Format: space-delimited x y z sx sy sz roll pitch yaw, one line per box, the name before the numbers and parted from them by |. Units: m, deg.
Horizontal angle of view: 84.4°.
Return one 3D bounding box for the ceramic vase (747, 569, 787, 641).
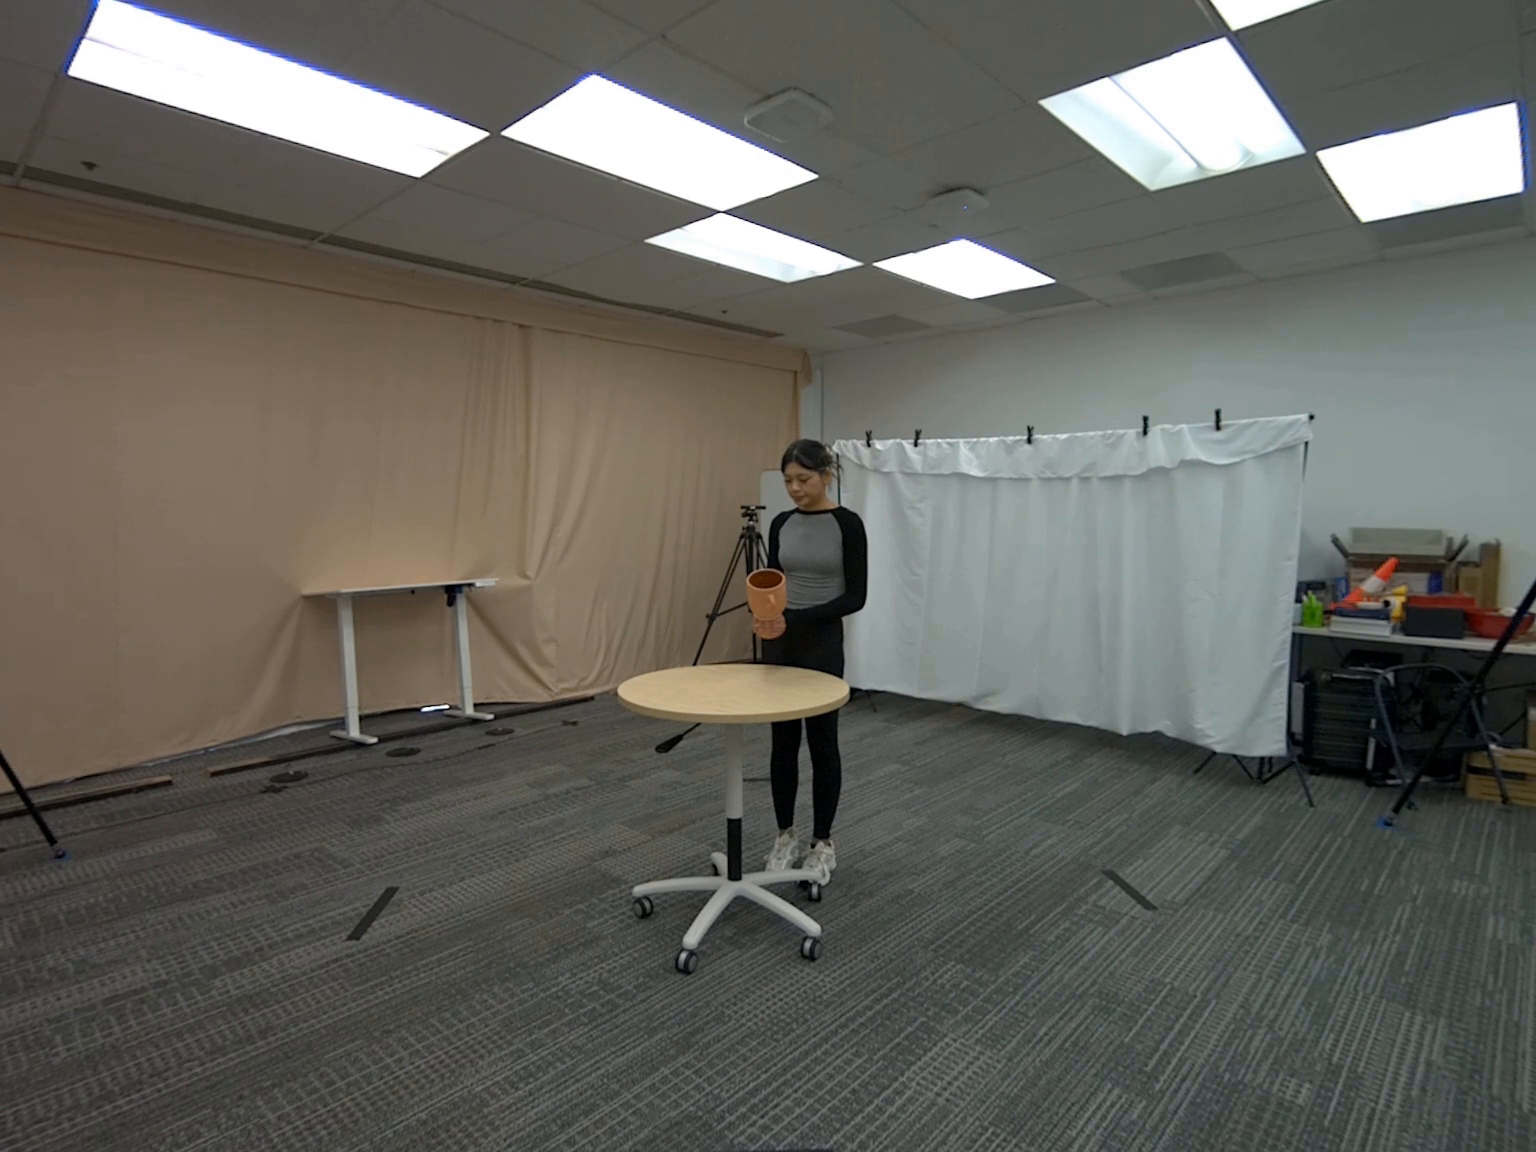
ceramic vase | 0.002 0.103 2.946 0.138 0.215 0.158 10 36 26
